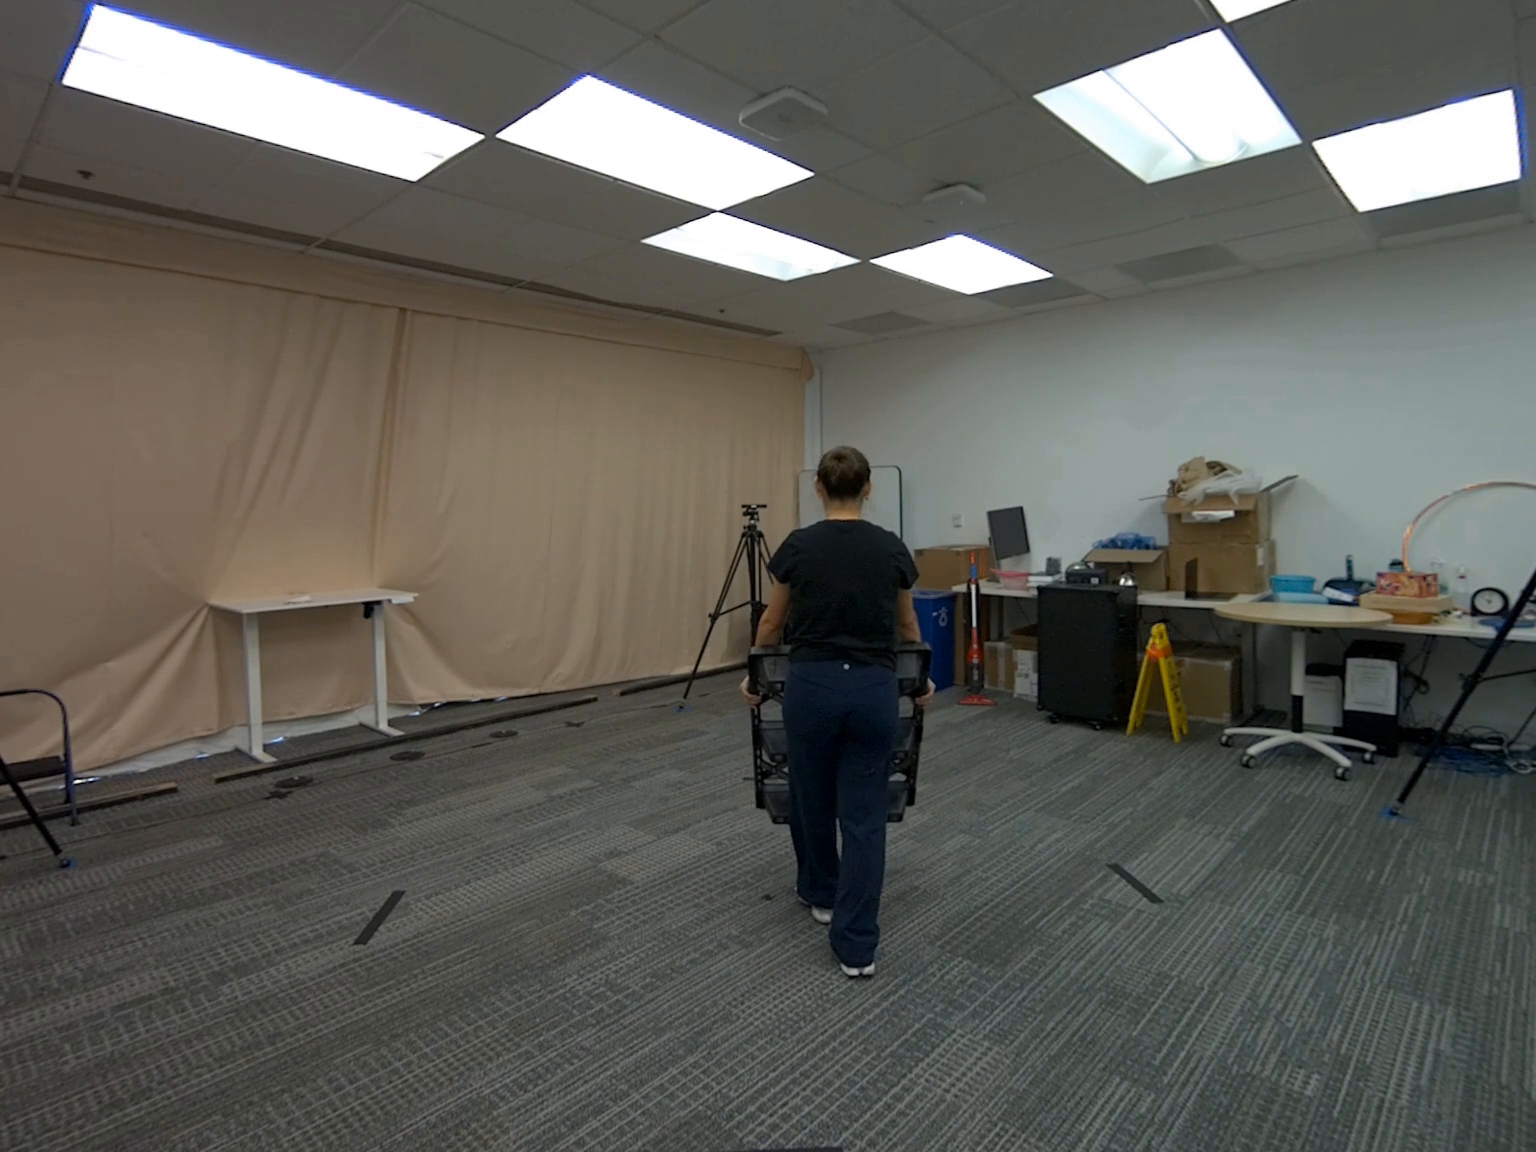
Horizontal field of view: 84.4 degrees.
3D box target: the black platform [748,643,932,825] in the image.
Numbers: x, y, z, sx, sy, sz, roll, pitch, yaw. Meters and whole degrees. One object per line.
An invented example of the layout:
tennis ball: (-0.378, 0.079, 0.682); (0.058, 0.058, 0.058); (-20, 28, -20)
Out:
black platform: (0.256, 0.571, 2.942); (0.607, 0.790, 0.146); (-1, 34, 2)
